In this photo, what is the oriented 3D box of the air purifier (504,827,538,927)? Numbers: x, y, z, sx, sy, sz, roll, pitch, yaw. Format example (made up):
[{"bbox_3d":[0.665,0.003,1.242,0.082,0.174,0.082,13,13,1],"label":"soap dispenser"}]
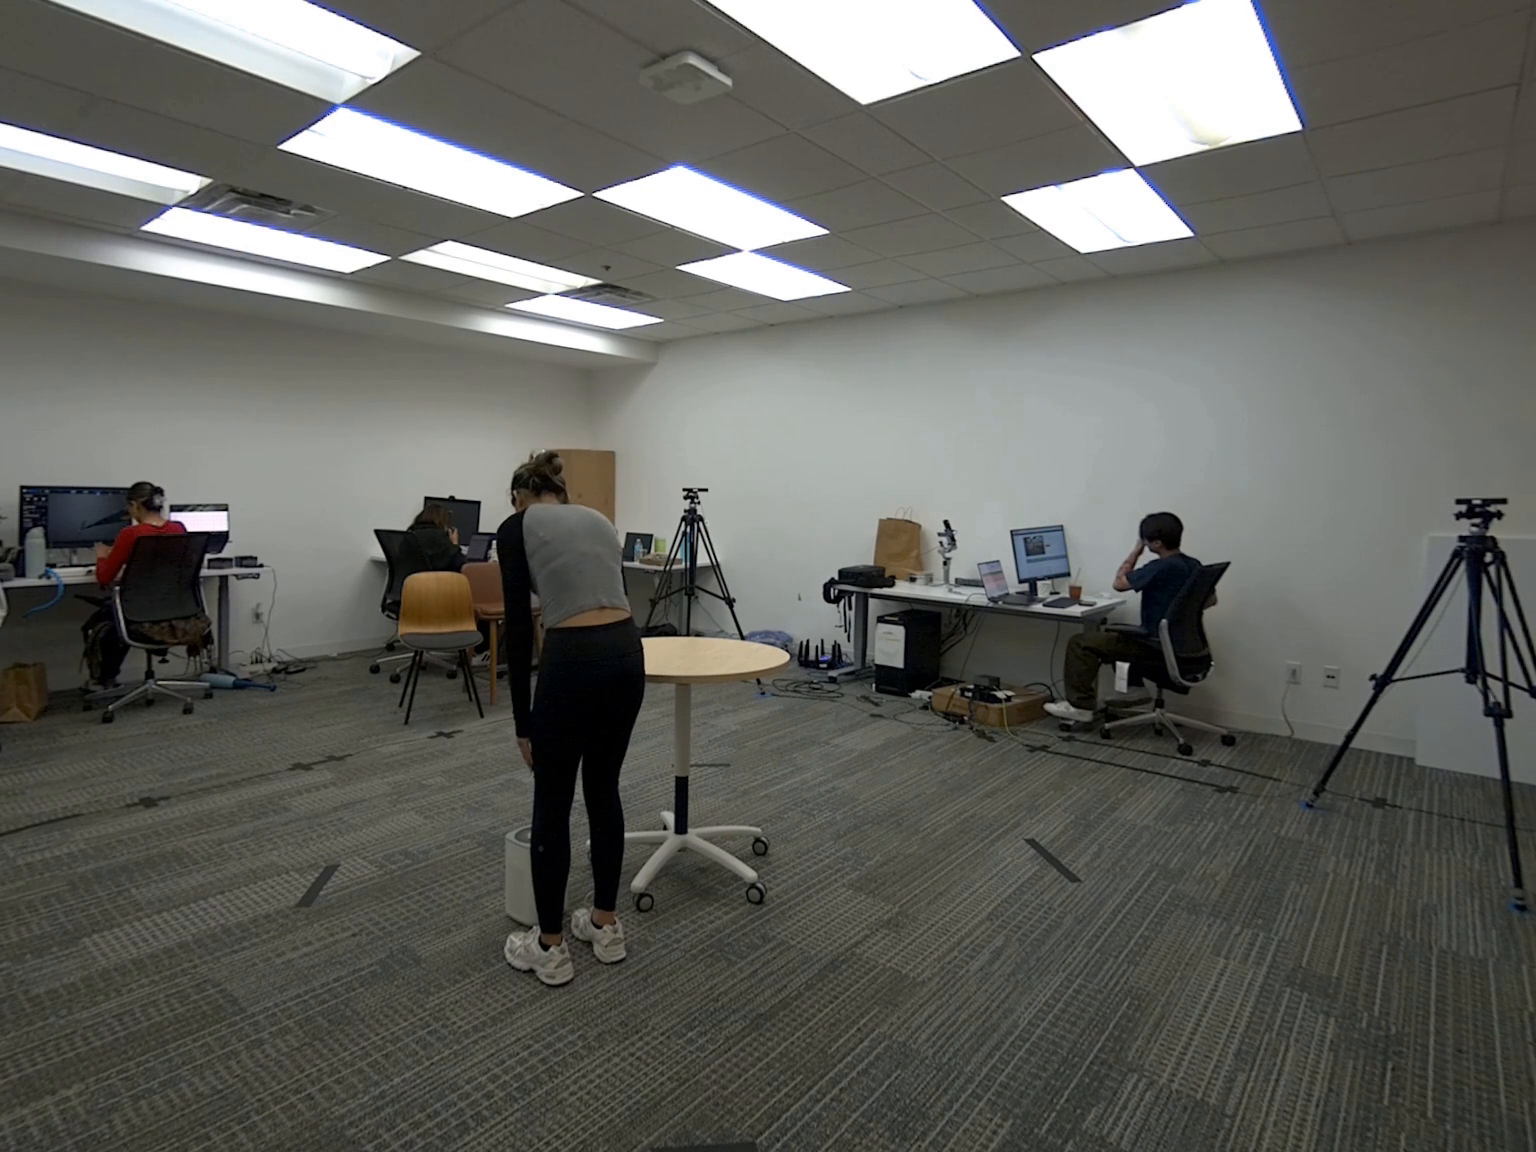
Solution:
[{"bbox_3d":[-0.762,0.967,2.750,0.177,0.265,0.166,3,4,35],"label":"air purifier"}]
